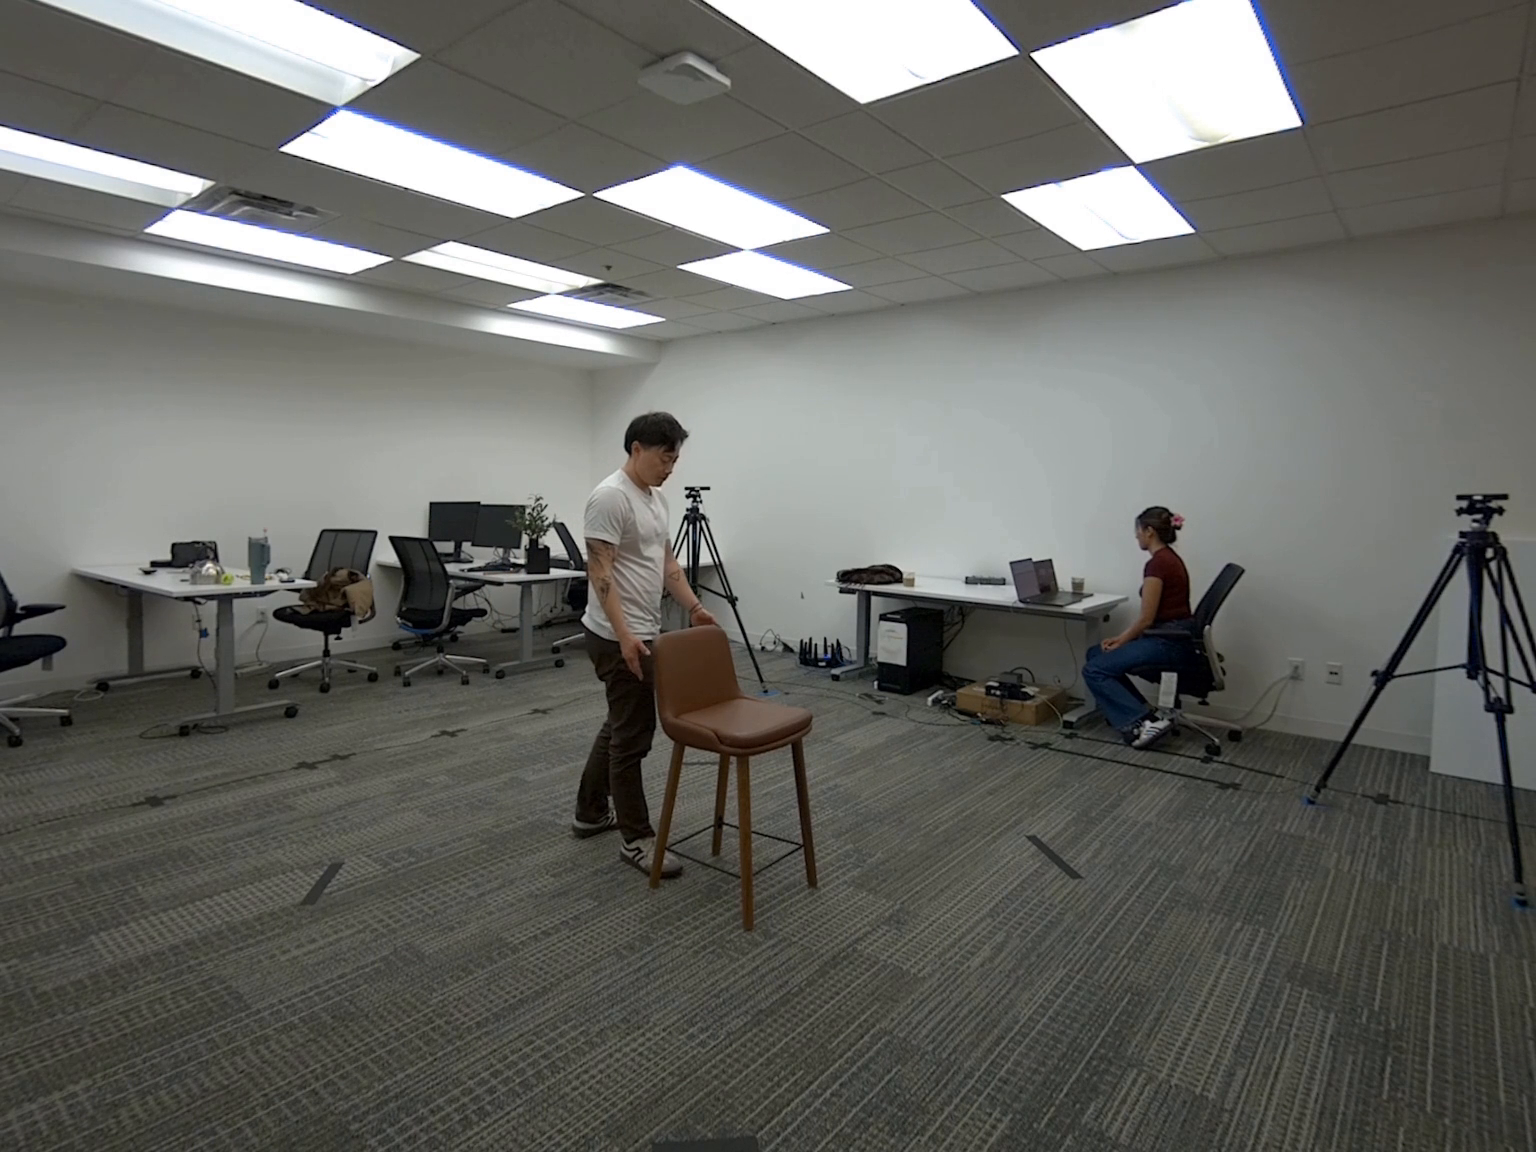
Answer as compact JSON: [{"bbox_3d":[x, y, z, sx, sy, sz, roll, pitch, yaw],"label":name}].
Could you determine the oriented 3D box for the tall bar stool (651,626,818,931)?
[{"bbox_3d":[-0.130,0.642,2.946,0.482,0.889,0.443,0,2,37],"label":"tall bar stool"}]
